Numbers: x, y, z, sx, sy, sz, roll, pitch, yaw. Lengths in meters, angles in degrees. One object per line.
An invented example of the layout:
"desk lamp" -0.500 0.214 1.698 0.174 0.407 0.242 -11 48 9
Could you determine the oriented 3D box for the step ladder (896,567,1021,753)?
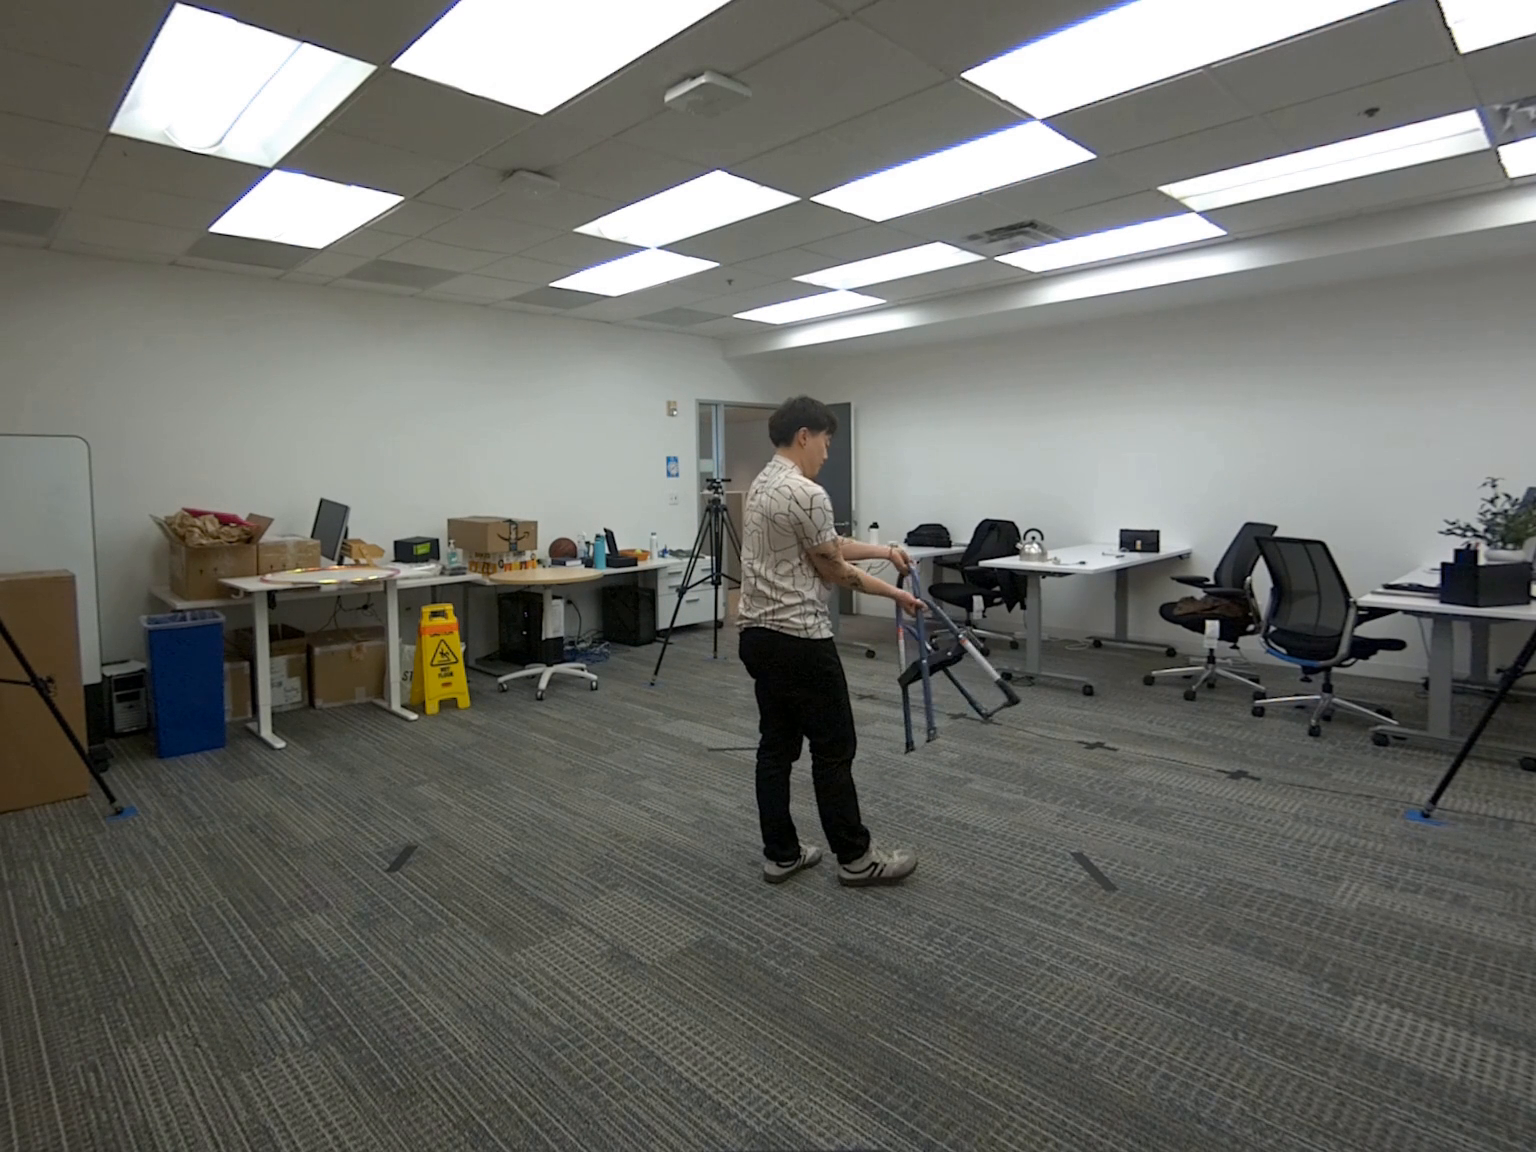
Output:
"step ladder" 0.554 0.274 3.082 0.348 0.620 0.422 -21 -19 -7
